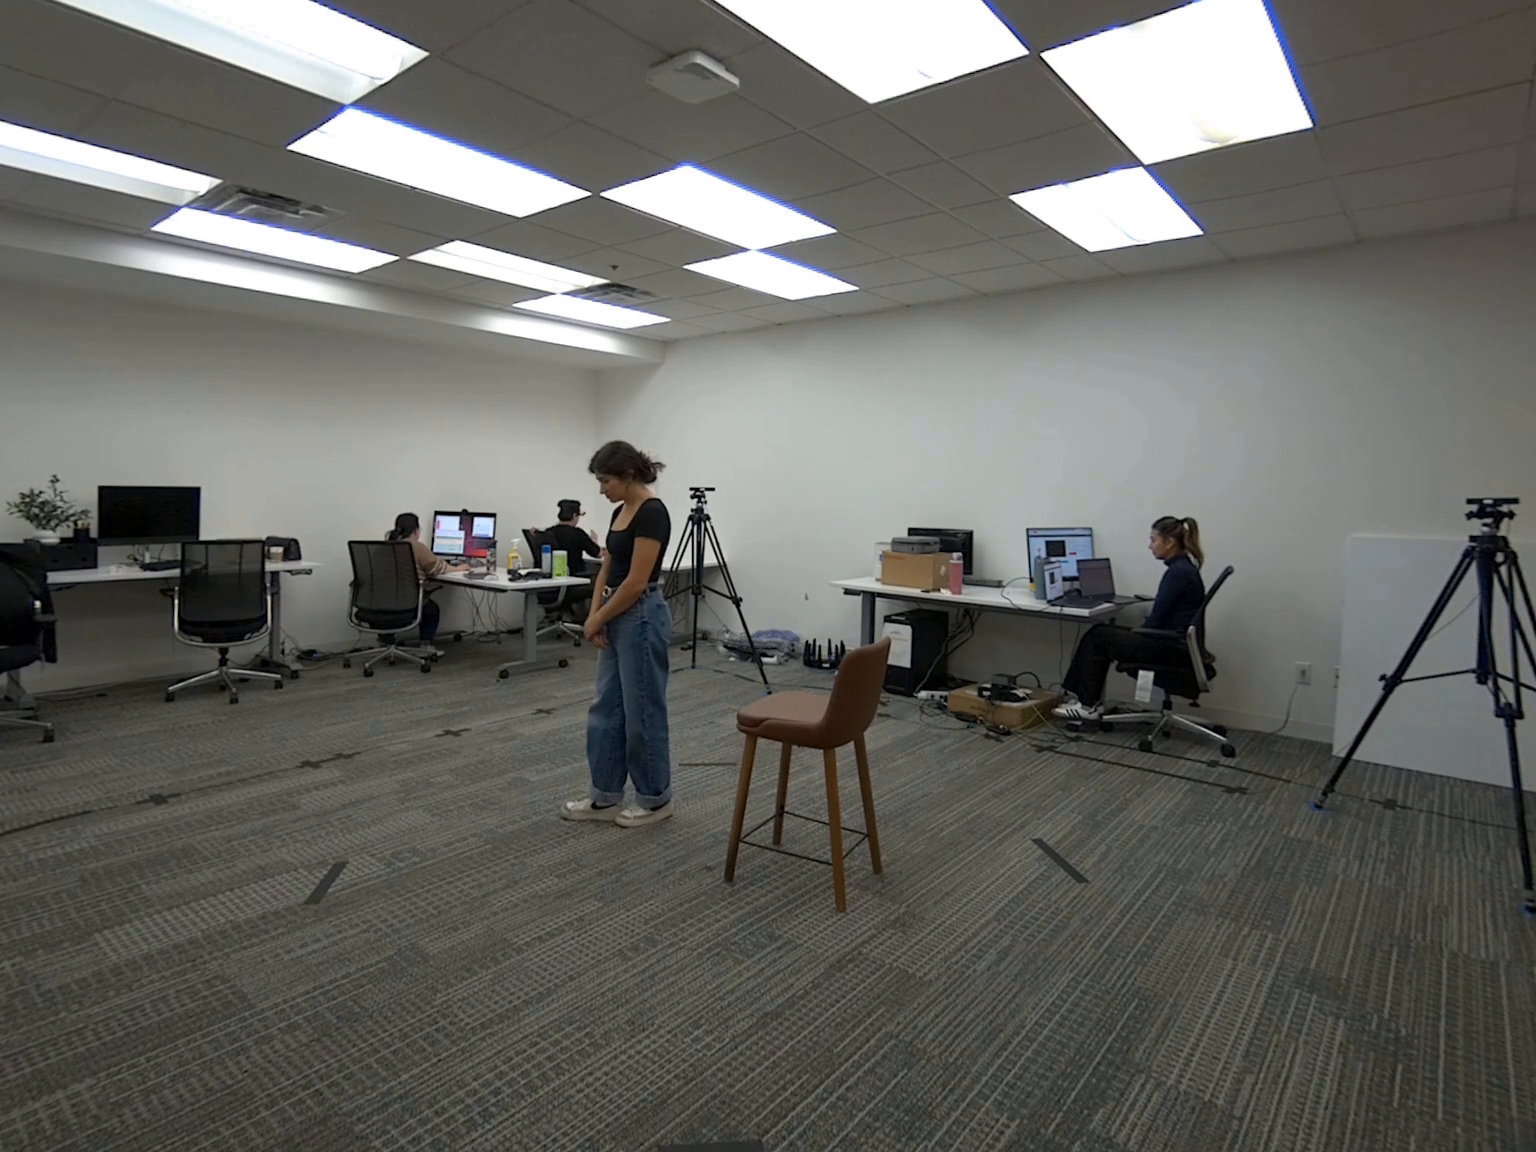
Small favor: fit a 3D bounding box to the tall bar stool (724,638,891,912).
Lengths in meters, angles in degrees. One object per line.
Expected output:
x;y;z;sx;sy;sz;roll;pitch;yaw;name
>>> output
0.144;0.645;3.048;0.482;0.887;0.444;5;5;30;tall bar stool
